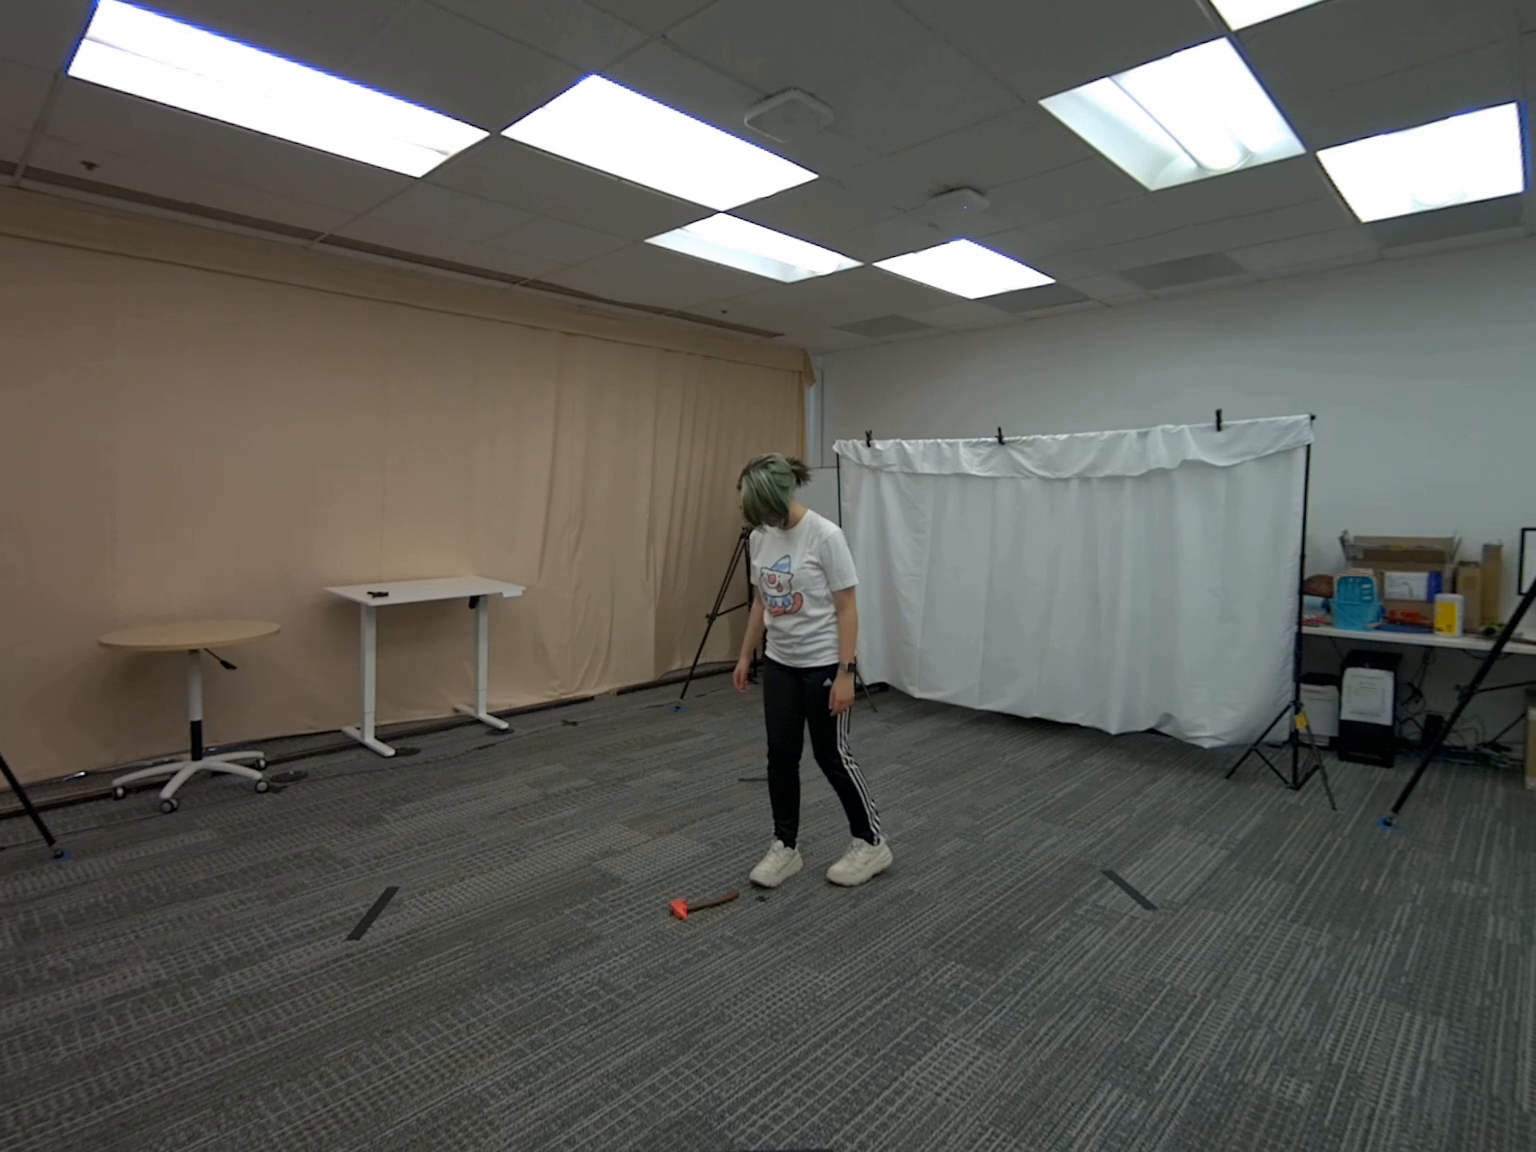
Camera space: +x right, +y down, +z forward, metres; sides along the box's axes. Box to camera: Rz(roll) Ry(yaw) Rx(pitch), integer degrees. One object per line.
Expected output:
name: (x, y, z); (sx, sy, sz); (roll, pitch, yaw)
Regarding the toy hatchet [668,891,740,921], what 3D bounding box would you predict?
toy hatchet: (-0.239, 1.139, 2.947); (0.261, 0.029, 0.135); (-2, 4, -44)
